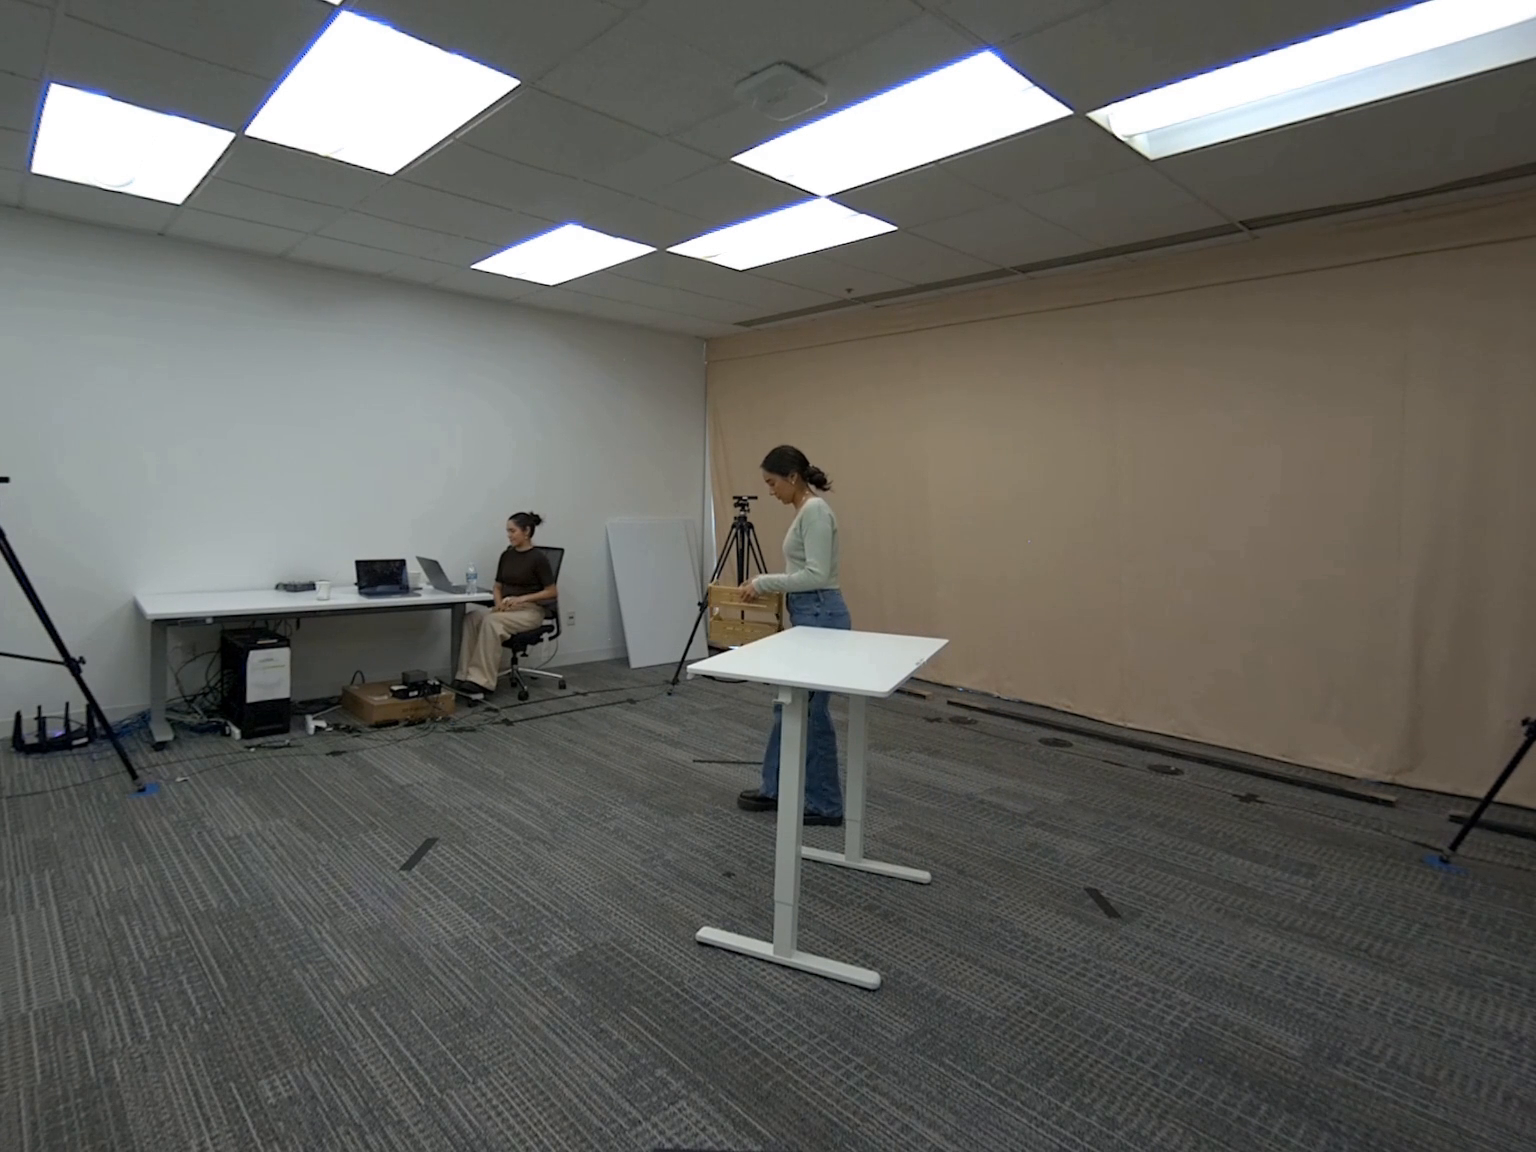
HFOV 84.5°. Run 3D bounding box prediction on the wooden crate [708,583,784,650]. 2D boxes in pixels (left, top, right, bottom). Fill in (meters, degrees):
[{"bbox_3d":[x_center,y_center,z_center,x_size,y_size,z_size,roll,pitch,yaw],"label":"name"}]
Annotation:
[{"bbox_3d":[-0.097,0.145,3.756,0.327,0.271,0.302,6,12,9],"label":"wooden crate"}]
